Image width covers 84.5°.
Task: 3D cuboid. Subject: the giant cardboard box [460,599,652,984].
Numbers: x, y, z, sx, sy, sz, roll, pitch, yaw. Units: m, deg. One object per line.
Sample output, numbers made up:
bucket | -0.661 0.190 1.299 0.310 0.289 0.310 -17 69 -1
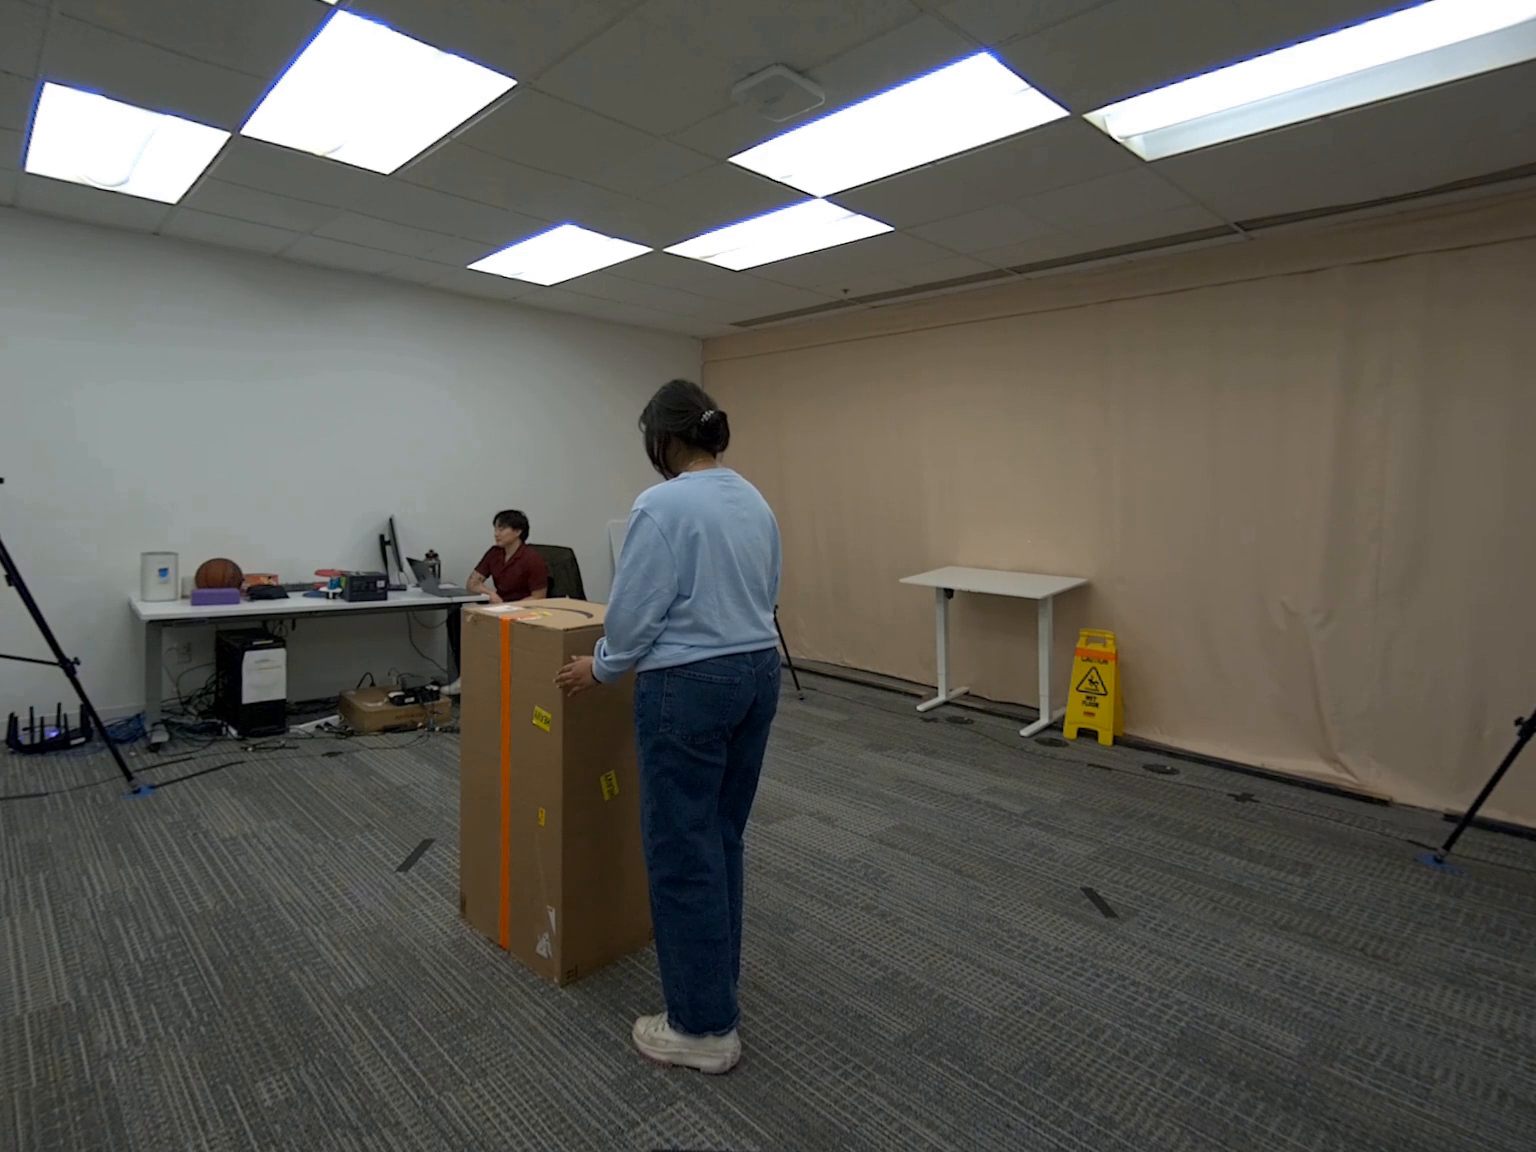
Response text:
giant cardboard box | -0.661 0.626 2.690 0.592 1.023 0.416 5 5 42
